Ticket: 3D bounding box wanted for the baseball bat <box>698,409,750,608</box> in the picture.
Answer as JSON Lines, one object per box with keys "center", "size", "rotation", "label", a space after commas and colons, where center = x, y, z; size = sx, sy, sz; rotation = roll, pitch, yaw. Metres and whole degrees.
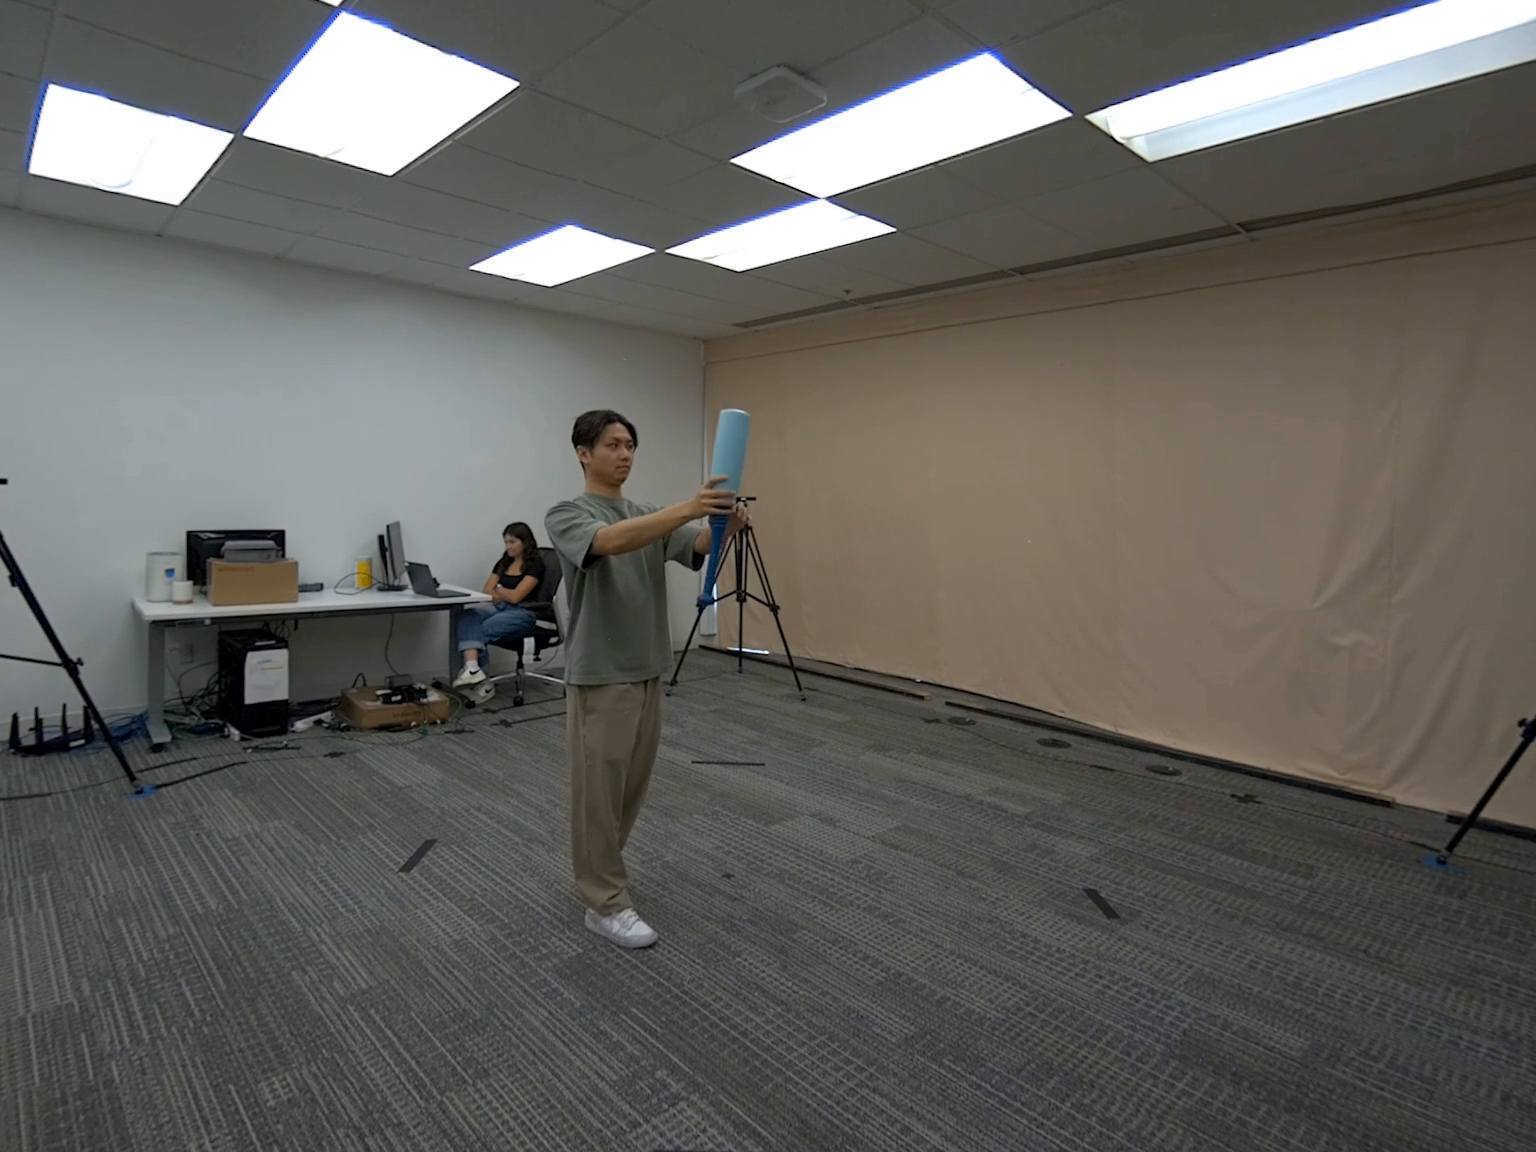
{"center": [-0.134, -0.188, 2.328], "size": [0.089, 0.542, 0.089], "rotation": [9, 1, -2], "label": "baseball bat"}
